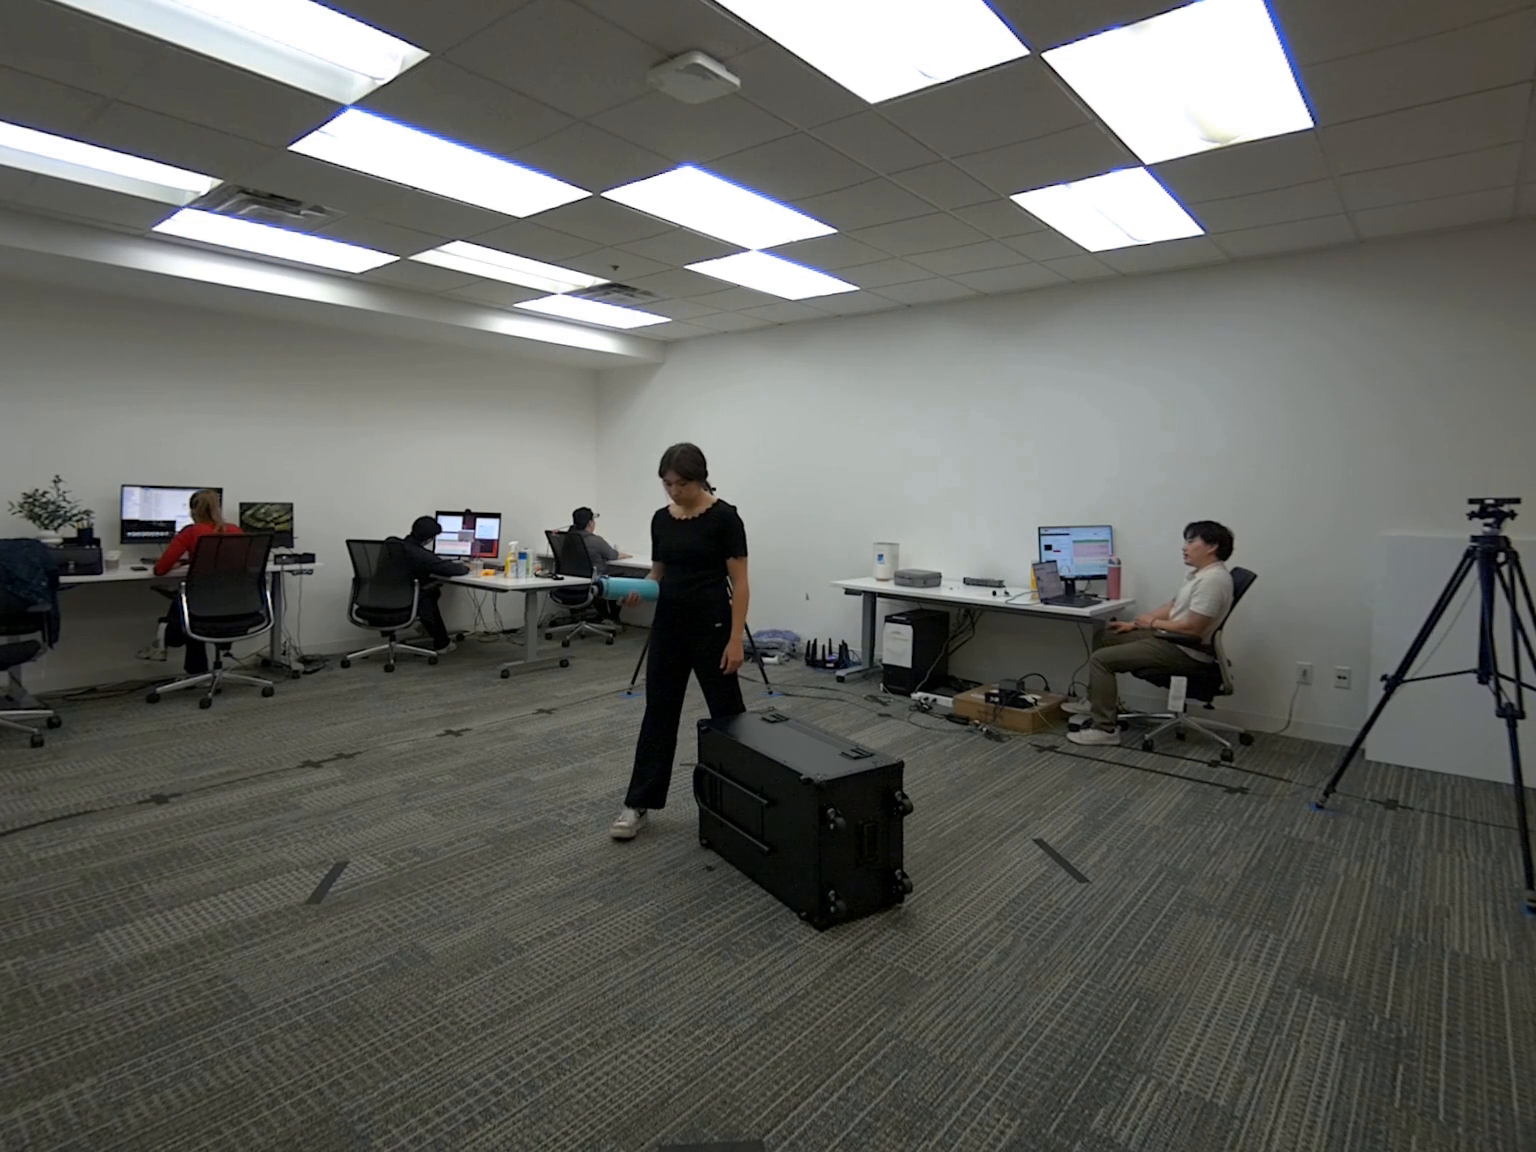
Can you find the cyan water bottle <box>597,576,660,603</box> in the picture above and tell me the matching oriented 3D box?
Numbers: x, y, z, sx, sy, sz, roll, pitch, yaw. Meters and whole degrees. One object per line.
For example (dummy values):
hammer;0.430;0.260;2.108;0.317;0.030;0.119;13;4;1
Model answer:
cyan water bottle;-0.584;0.051;3.378;0.273;0.092;0.095;8;-1;-40
